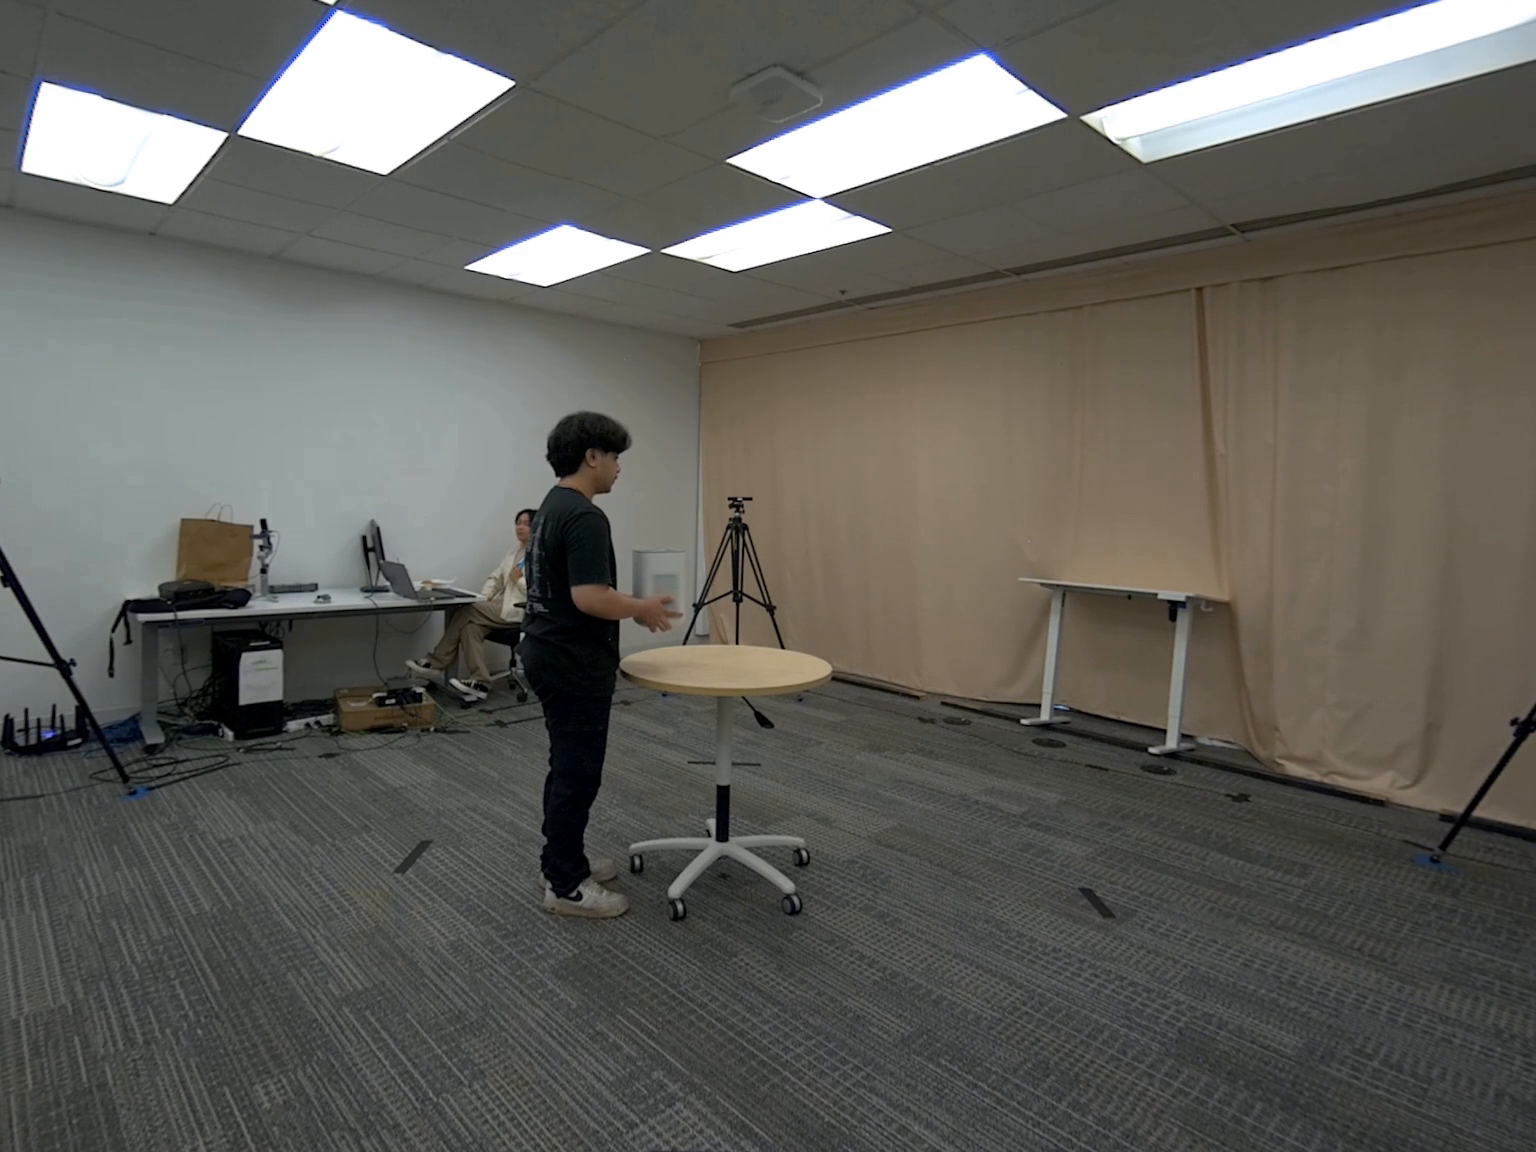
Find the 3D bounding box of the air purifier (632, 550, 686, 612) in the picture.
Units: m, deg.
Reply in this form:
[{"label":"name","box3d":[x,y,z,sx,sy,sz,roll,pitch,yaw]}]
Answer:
[{"label":"air purifier","box3d":[-0.398,0.039,2.960,0.169,0.264,0.174,-2,5,-24]}]
